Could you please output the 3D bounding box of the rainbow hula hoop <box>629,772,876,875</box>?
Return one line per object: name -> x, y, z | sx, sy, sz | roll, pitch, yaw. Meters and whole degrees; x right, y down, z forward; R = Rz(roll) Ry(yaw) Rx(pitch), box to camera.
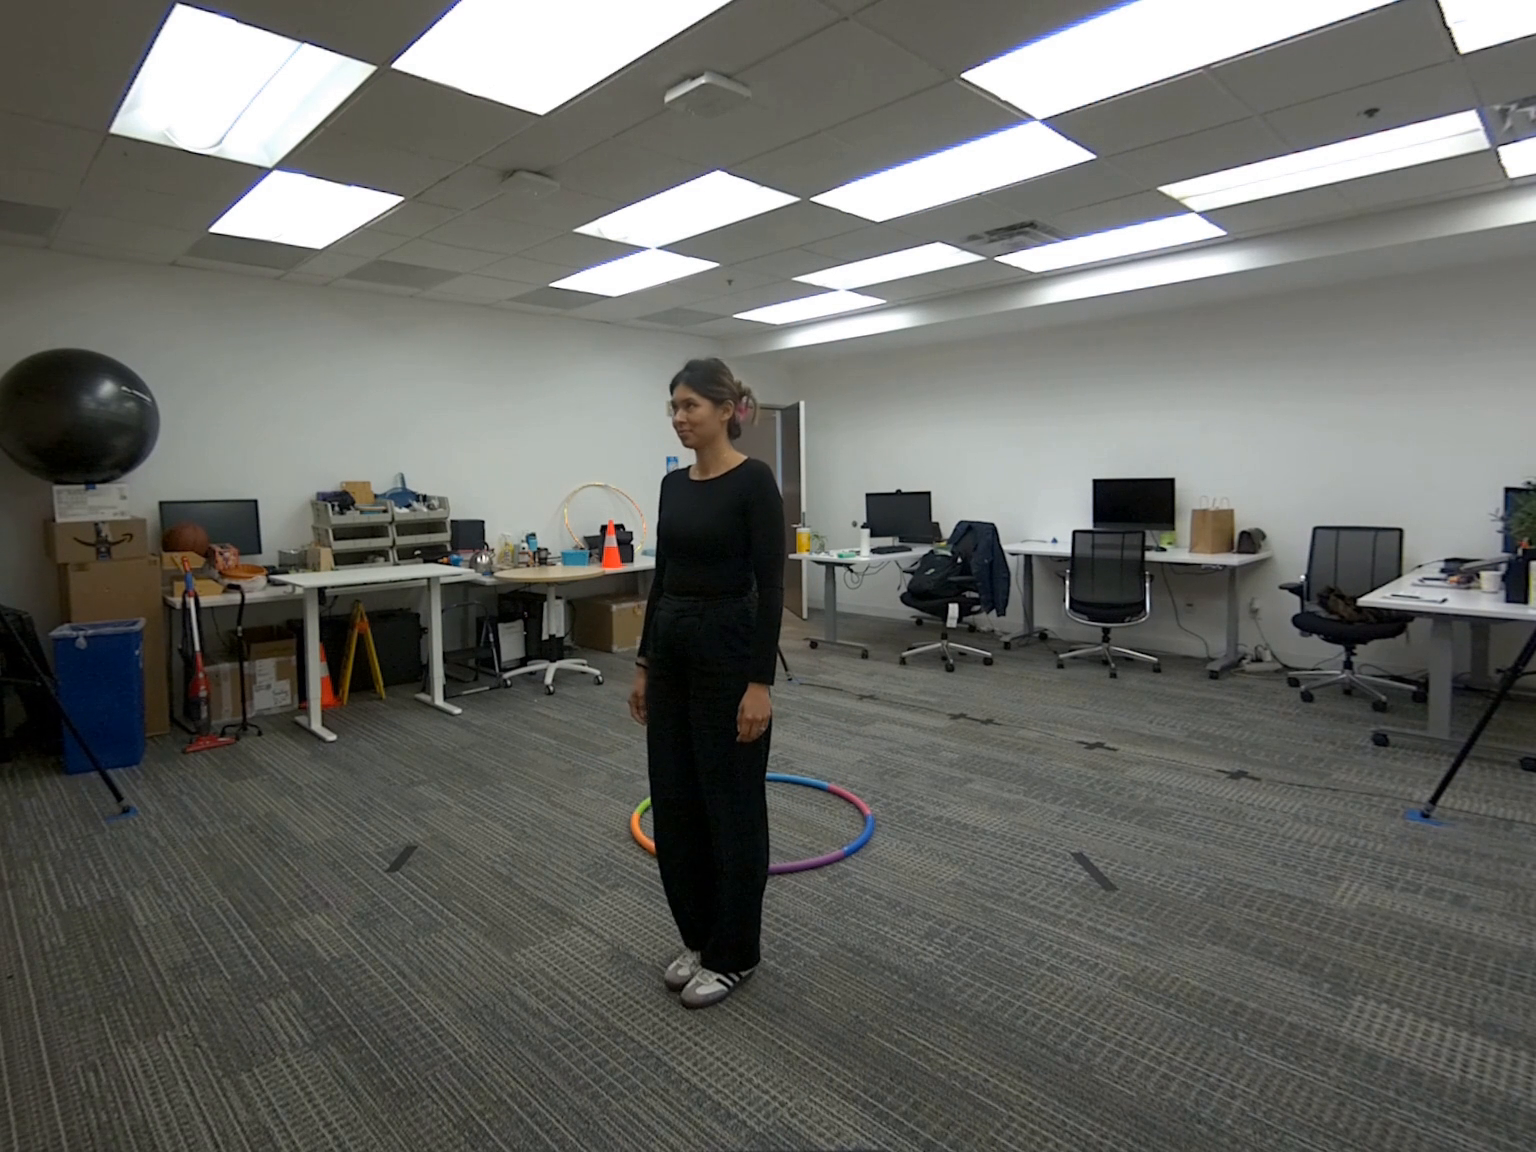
rainbow hula hoop -> -0.066, 0.969, 3.485 | 0.978, 0.035, 0.984 | -1, 7, -2
